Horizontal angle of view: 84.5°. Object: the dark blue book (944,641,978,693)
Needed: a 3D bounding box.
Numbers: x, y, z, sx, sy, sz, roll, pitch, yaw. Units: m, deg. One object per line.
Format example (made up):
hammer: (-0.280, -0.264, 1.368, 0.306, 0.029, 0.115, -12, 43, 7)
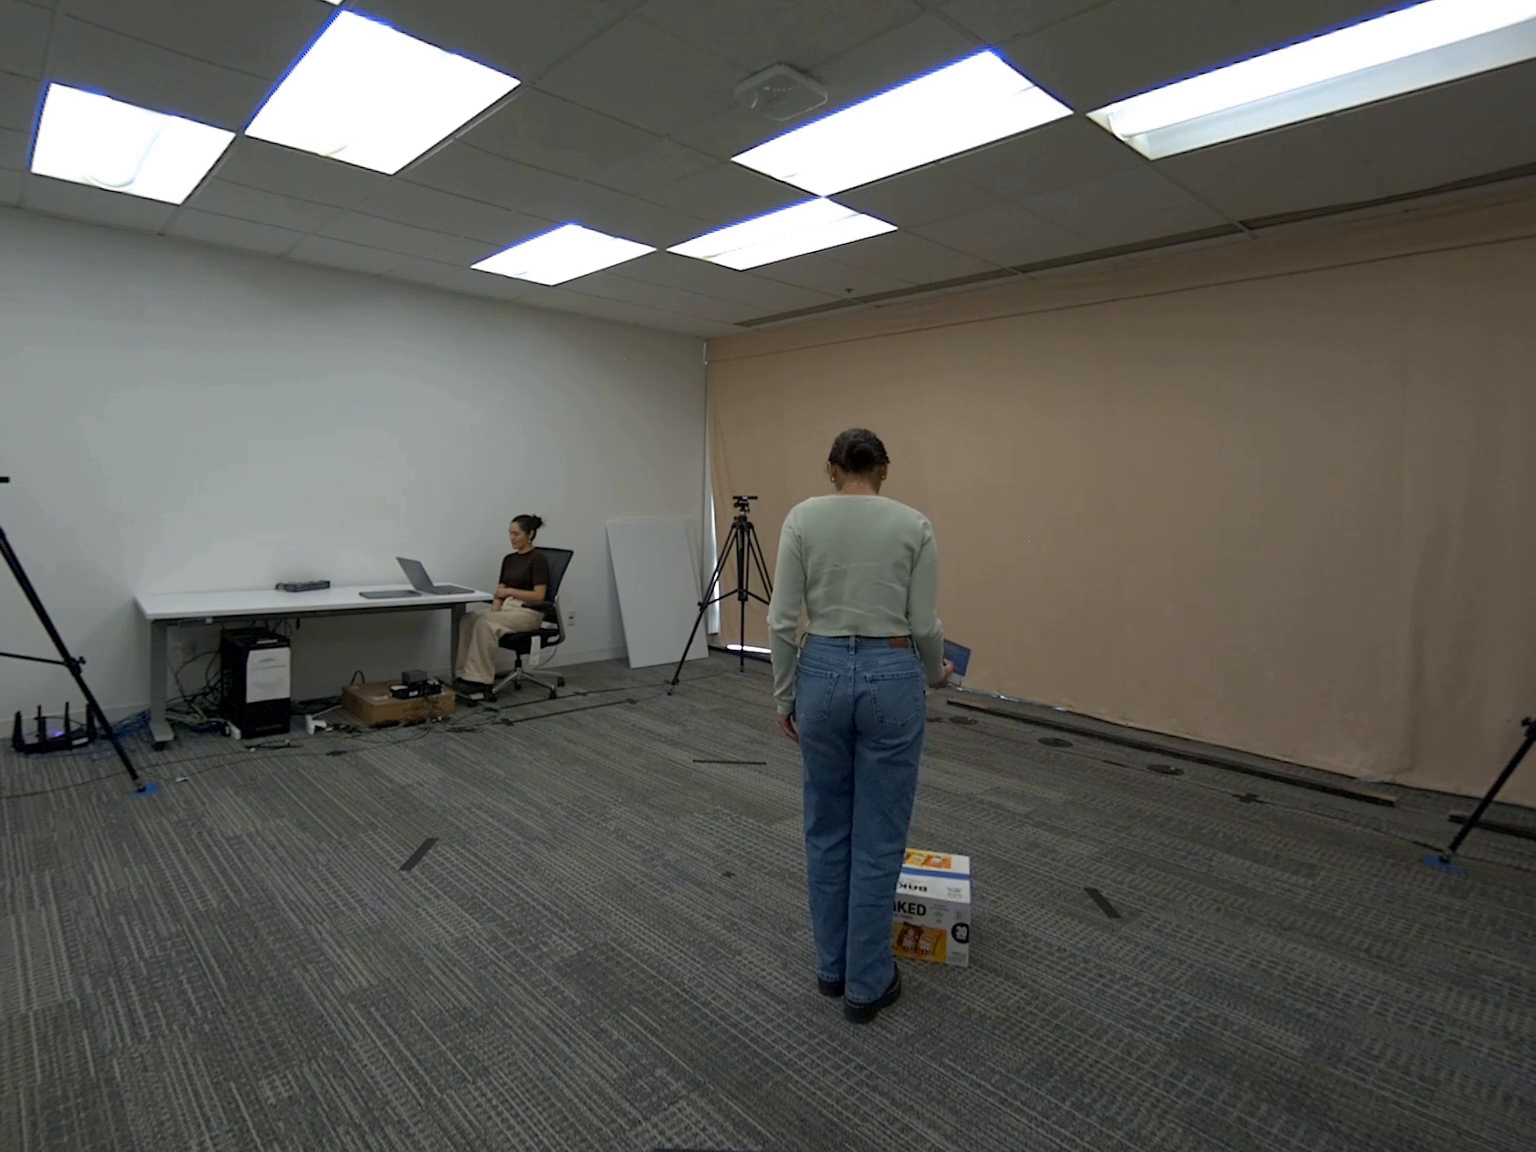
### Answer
dark blue book: (0.552, 0.266, 2.626, 0.166, 0.045, 0.243, 22, 18, 13)
